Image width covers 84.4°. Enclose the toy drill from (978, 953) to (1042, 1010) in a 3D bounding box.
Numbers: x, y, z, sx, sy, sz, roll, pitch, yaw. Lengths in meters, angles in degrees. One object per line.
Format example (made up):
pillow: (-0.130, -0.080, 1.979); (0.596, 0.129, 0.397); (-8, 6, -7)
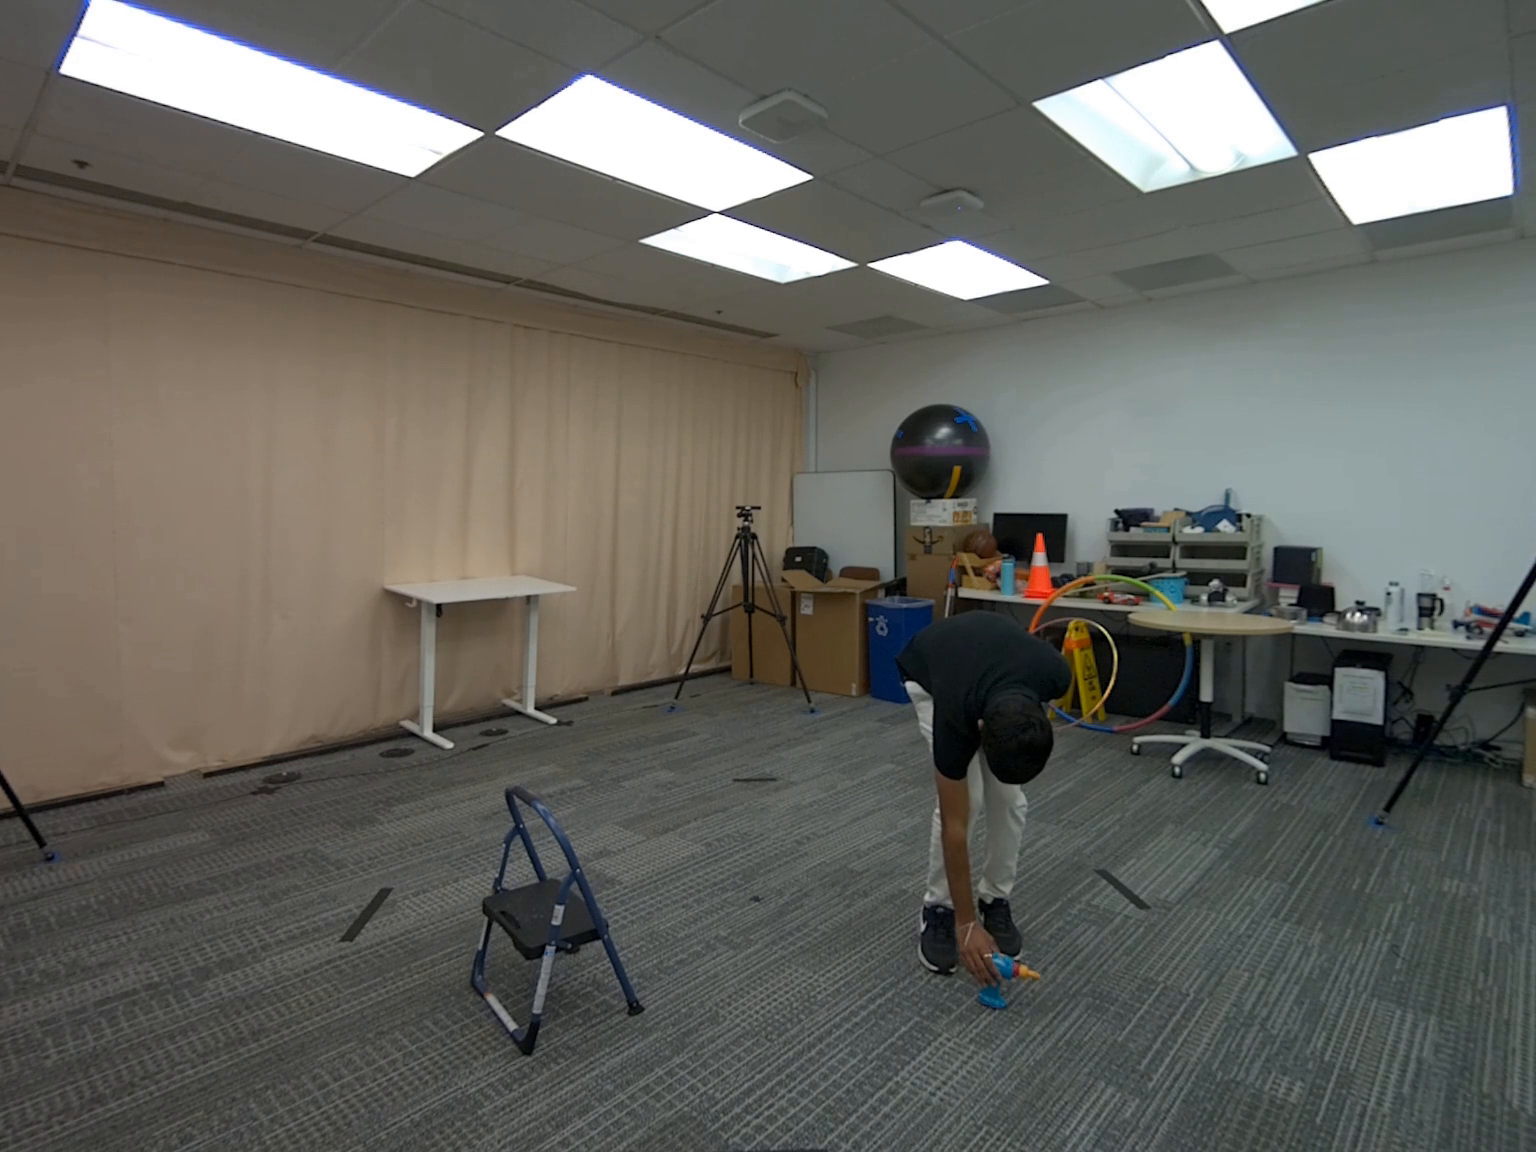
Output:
toy drill: (0.662, 1.112, 2.337); (0.173, 0.146, 0.060); (5, 4, 18)
